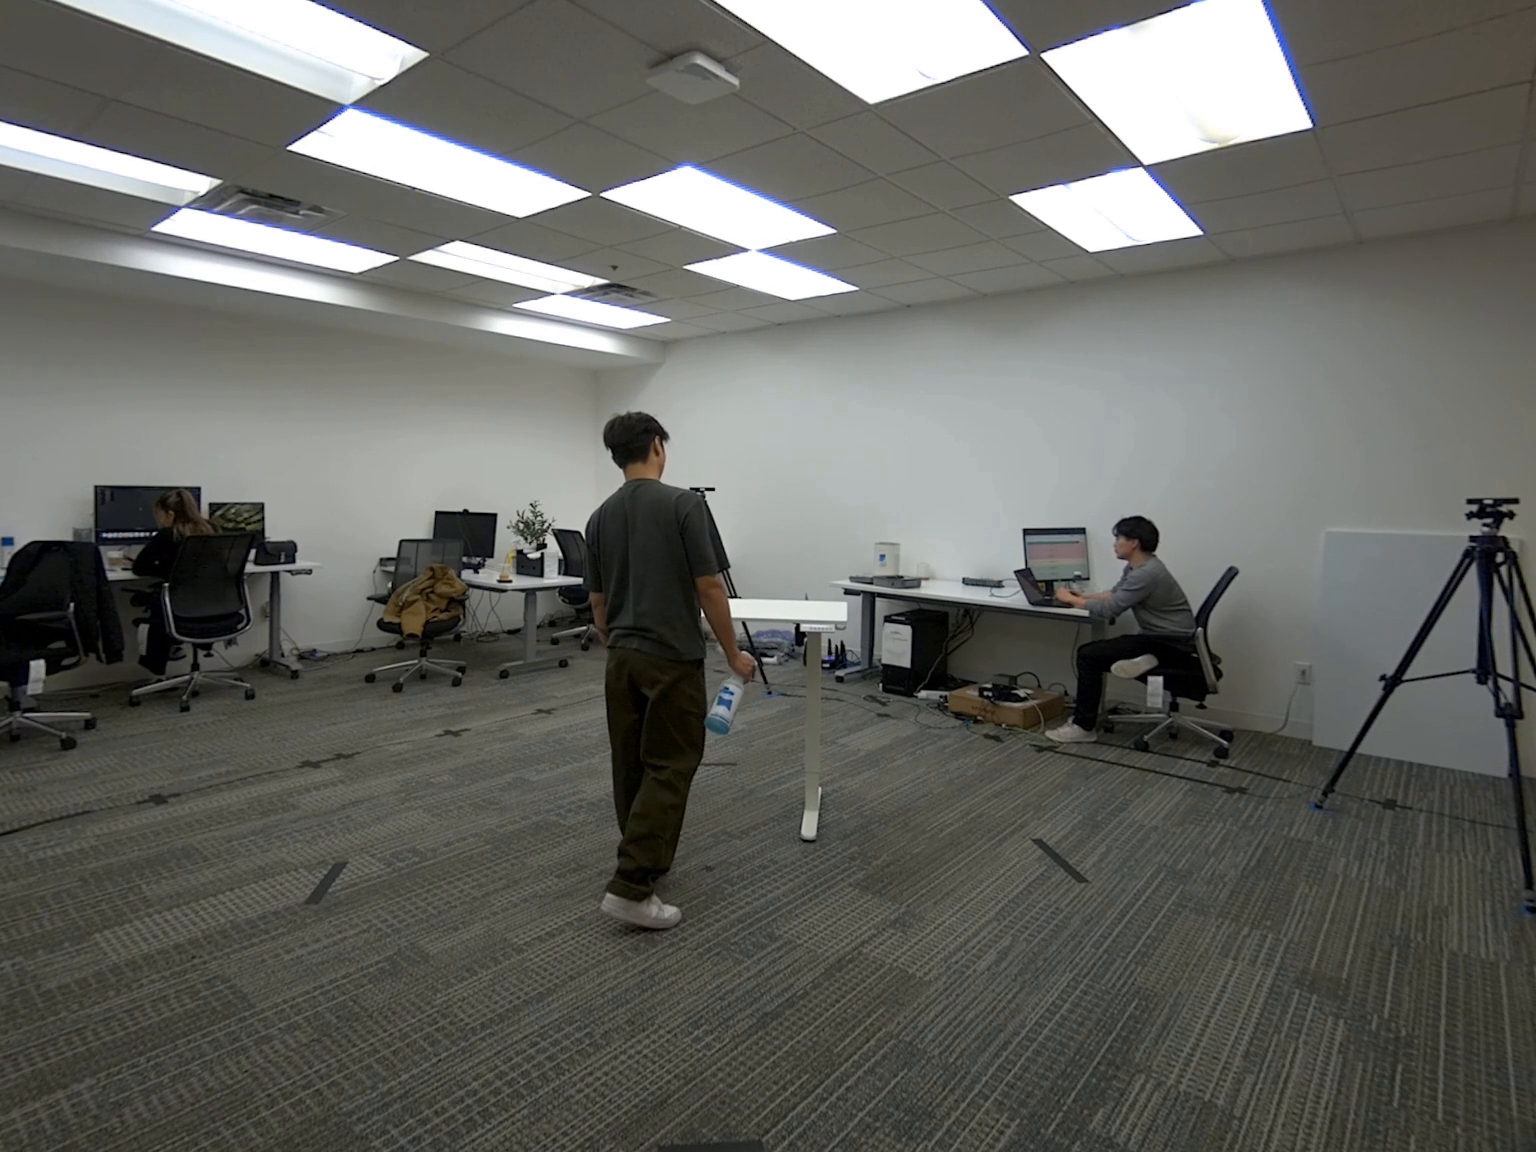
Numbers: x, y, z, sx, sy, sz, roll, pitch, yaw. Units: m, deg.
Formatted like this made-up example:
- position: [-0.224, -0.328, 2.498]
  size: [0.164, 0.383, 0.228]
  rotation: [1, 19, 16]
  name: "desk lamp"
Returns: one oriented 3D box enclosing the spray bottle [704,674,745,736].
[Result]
- position: [-0.132, 0.380, 2.806]
  size: [0.089, 0.301, 0.087]
  rotation: [32, -37, -10]
  name: "spray bottle"
